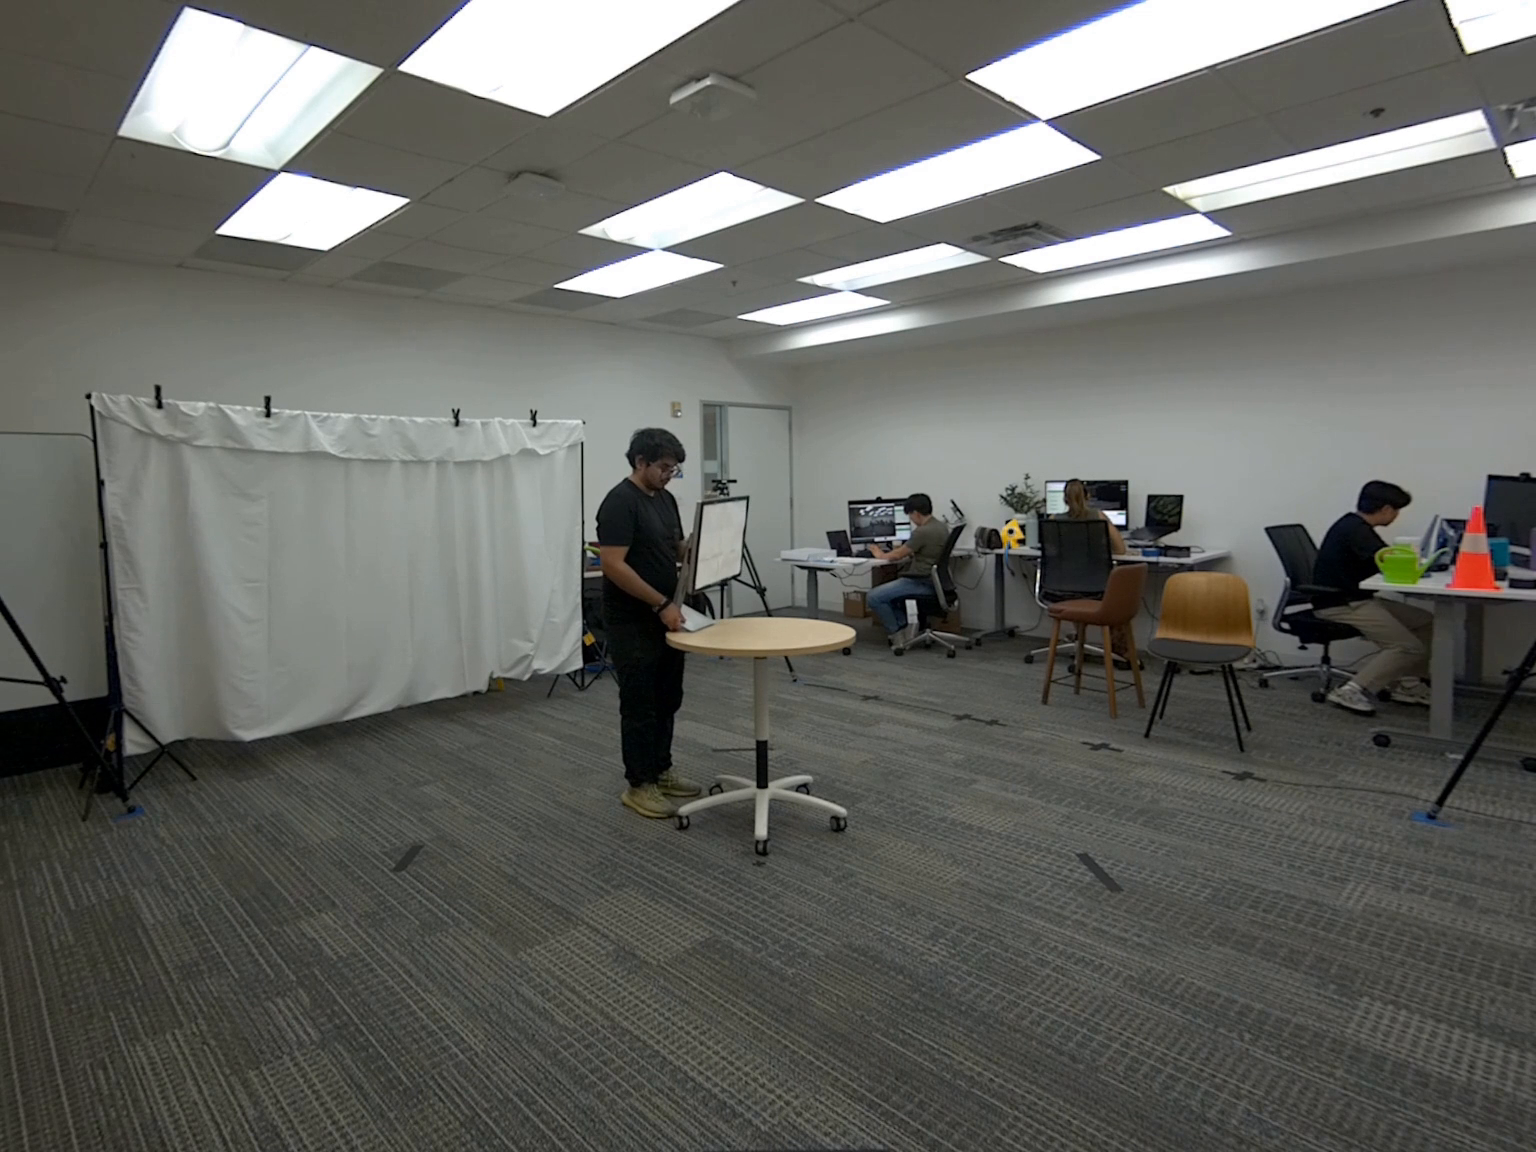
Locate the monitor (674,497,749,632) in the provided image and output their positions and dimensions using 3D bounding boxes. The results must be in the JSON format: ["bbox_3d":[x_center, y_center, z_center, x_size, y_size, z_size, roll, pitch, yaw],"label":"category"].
[{"bbox_3d":[-0.283,-0.073,3.551,0.214,0.550,0.558,16,11,16],"label":"monitor"}]
